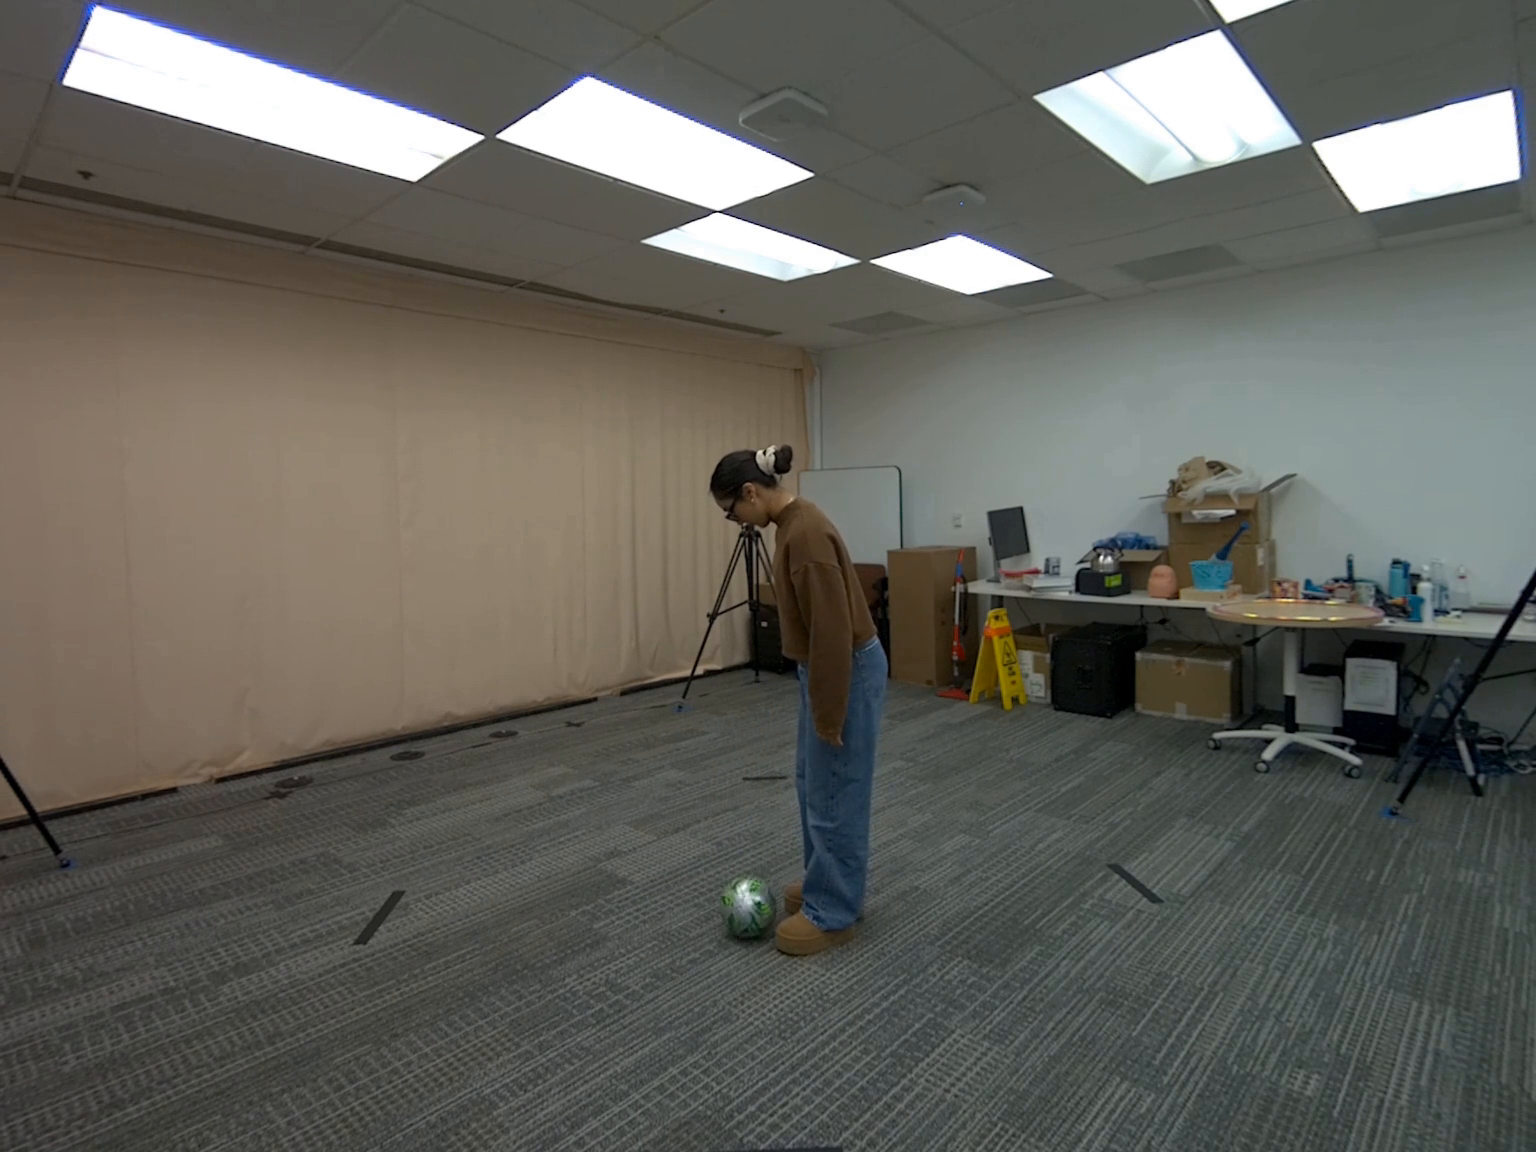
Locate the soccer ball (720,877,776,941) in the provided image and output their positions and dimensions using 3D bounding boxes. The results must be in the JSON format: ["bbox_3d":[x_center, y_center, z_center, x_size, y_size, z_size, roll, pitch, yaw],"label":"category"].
[{"bbox_3d":[-0.061,1.075,2.732,0.187,0.187,0.188,-1,4,-2],"label":"soccer ball"}]
